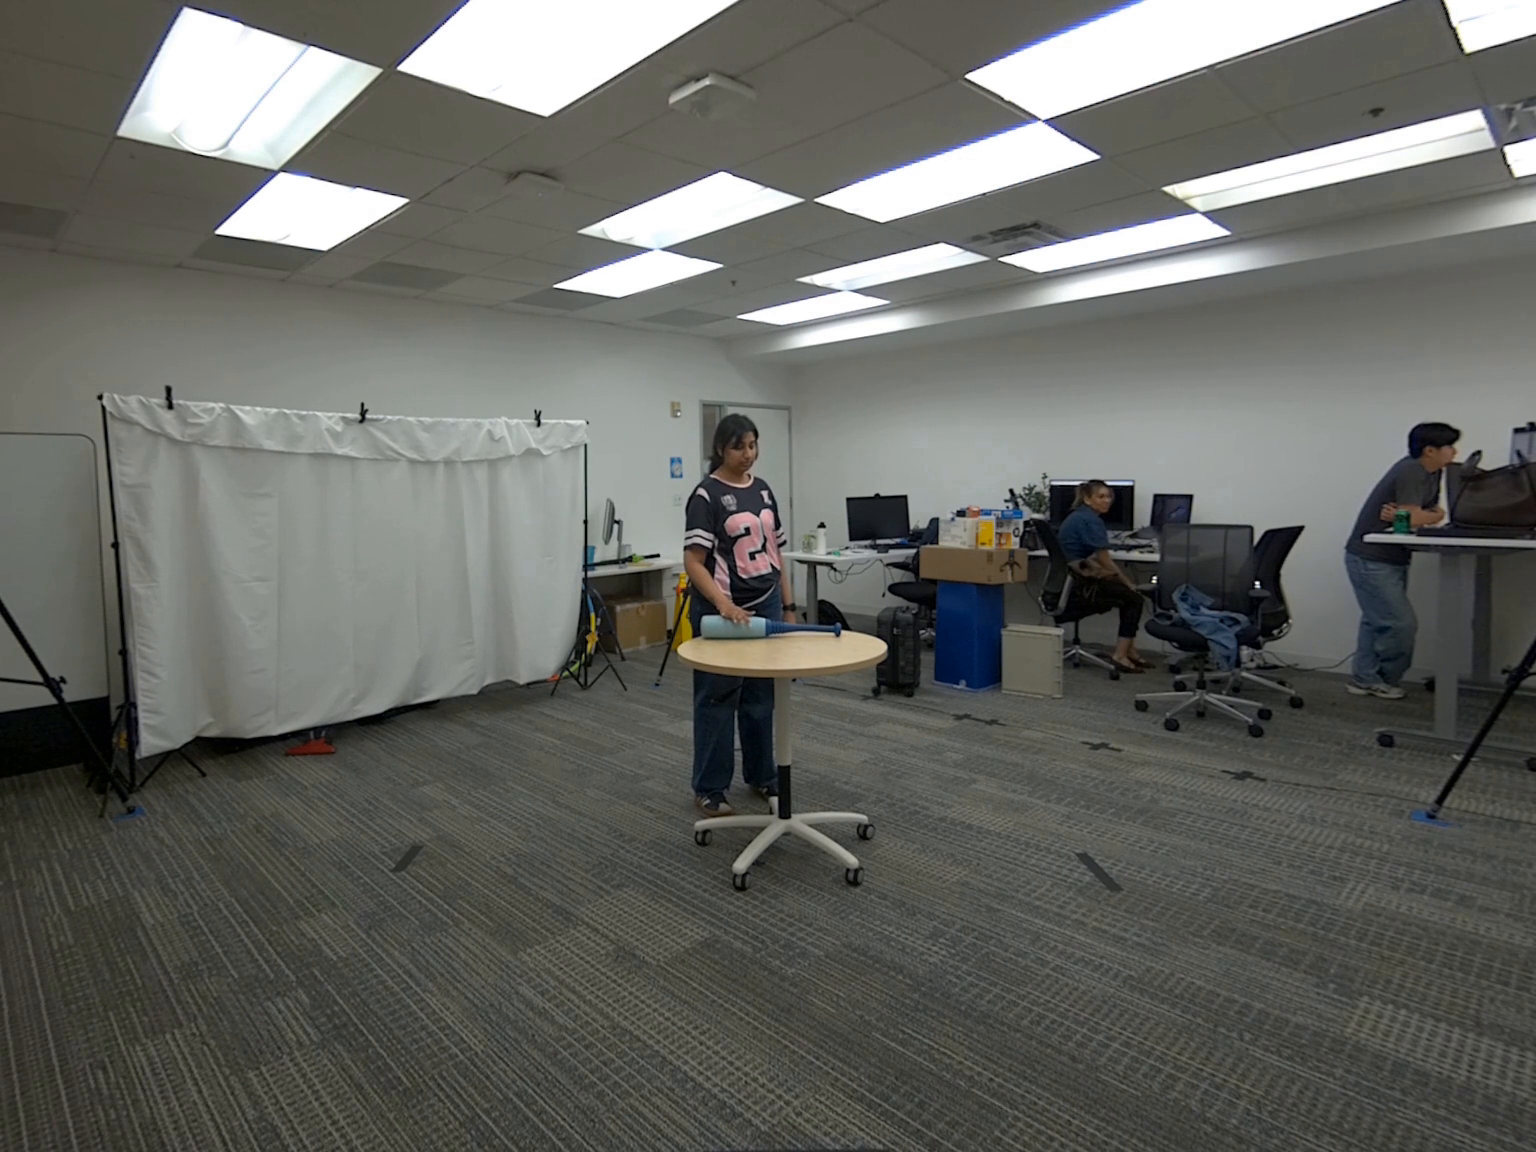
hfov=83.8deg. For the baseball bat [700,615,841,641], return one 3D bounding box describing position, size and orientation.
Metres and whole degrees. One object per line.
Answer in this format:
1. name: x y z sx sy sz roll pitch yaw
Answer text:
1. baseball bat: 0.012 0.208 3.312 0.543 0.089 0.089 1 5 1
